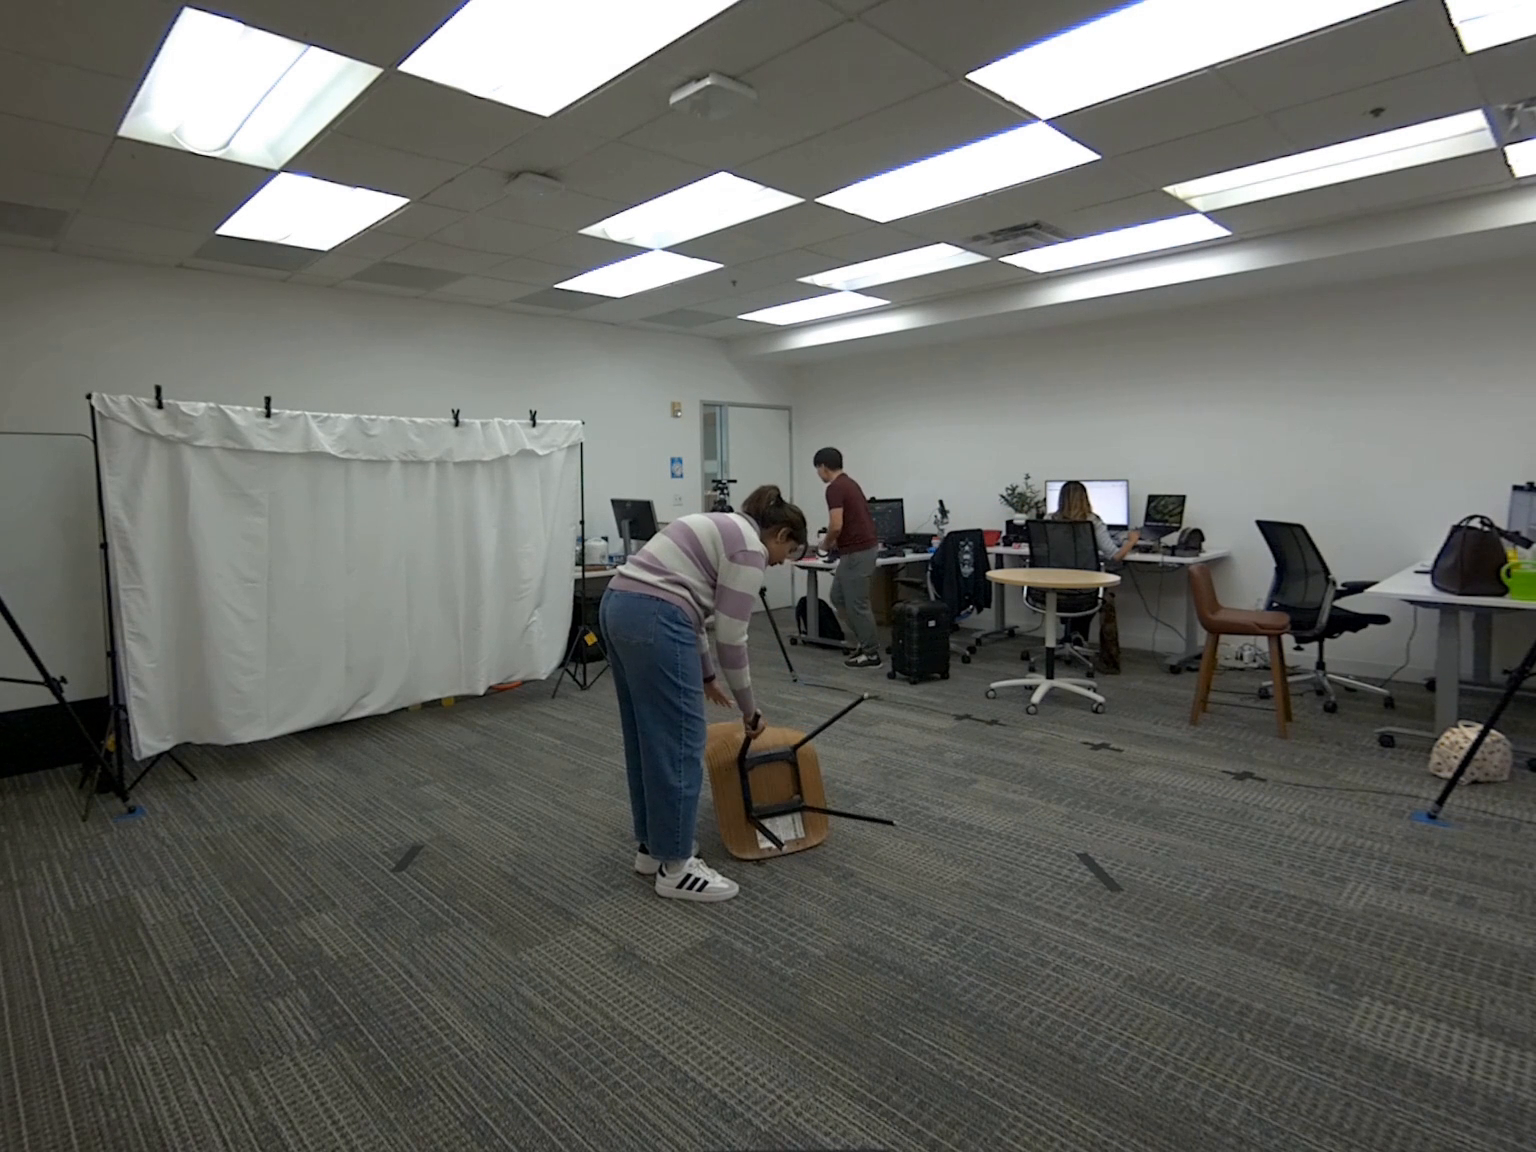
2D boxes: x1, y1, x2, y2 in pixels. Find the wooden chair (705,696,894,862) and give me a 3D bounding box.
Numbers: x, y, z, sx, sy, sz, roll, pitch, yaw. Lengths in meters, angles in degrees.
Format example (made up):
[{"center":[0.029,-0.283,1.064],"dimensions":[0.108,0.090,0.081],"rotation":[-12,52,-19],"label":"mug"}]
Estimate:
[{"center":[0.022,0.790,3.245],"dimensions":[0.468,0.530,0.885],"rotation":[-5,-12,-28],"label":"wooden chair"}]
